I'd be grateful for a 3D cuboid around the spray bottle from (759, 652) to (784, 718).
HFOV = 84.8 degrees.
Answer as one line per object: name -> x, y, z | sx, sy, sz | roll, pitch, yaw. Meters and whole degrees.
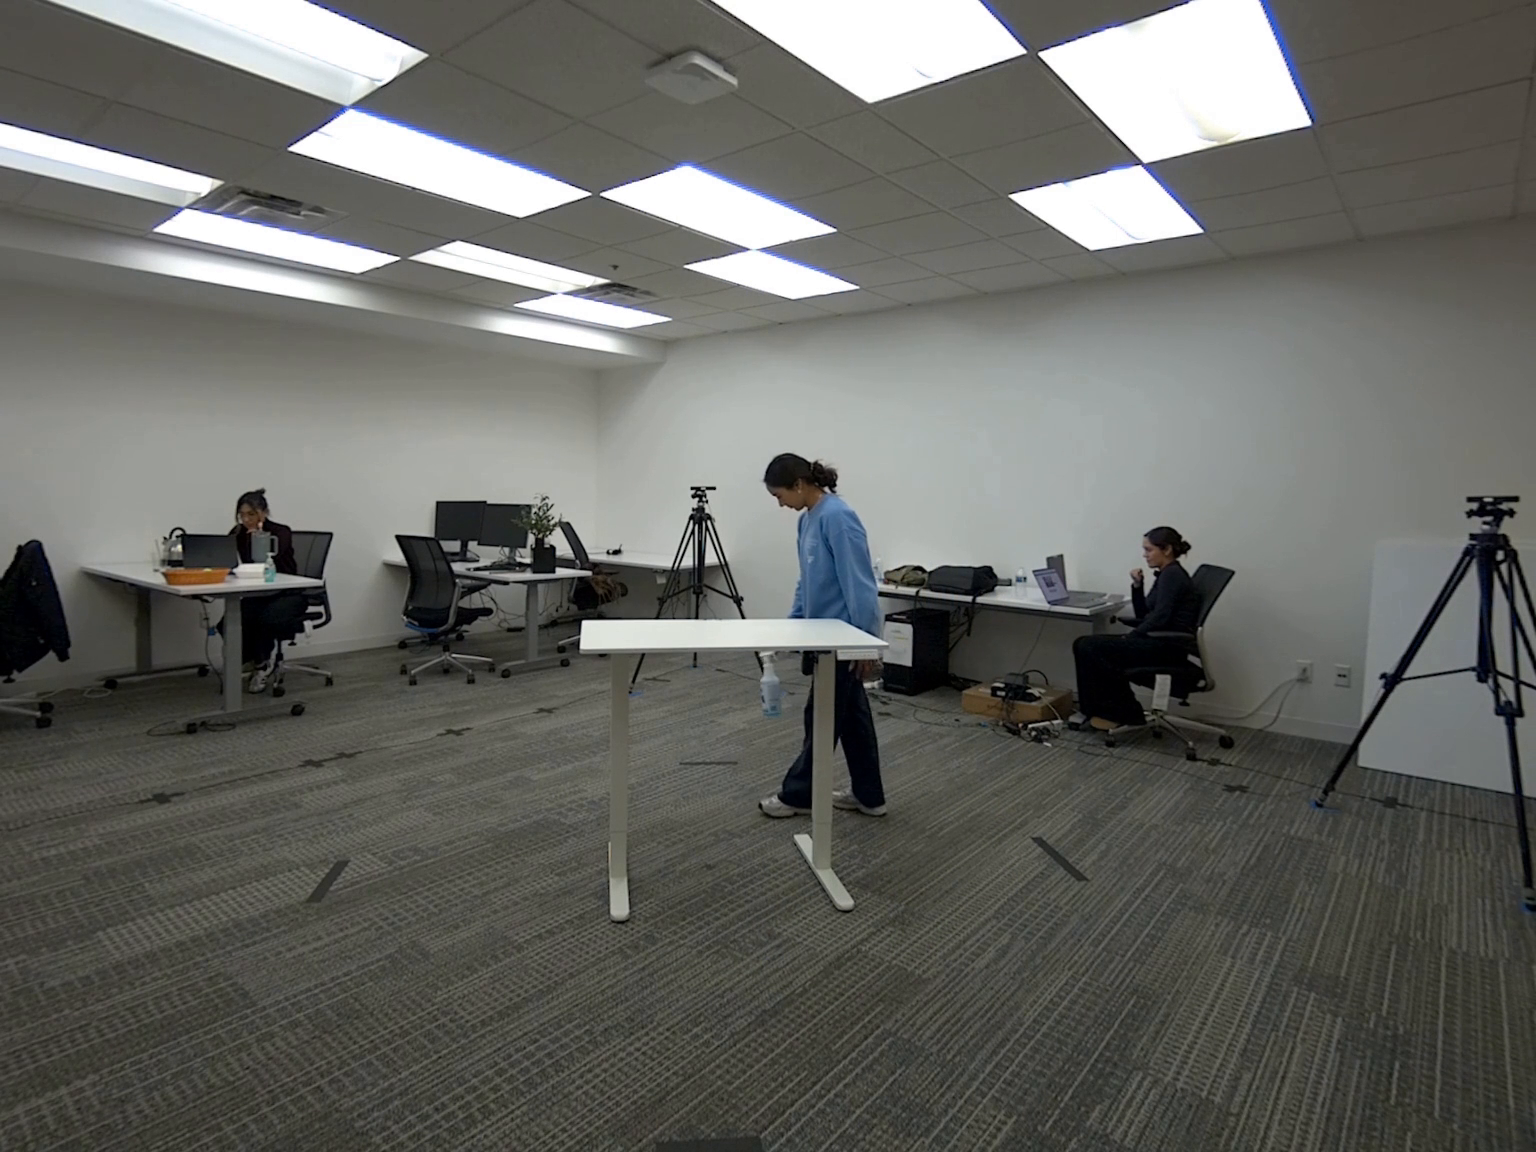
spray bottle -> 0.001, 0.479, 3.867 | 0.084, 0.297, 0.092 | -6, 1, -39
